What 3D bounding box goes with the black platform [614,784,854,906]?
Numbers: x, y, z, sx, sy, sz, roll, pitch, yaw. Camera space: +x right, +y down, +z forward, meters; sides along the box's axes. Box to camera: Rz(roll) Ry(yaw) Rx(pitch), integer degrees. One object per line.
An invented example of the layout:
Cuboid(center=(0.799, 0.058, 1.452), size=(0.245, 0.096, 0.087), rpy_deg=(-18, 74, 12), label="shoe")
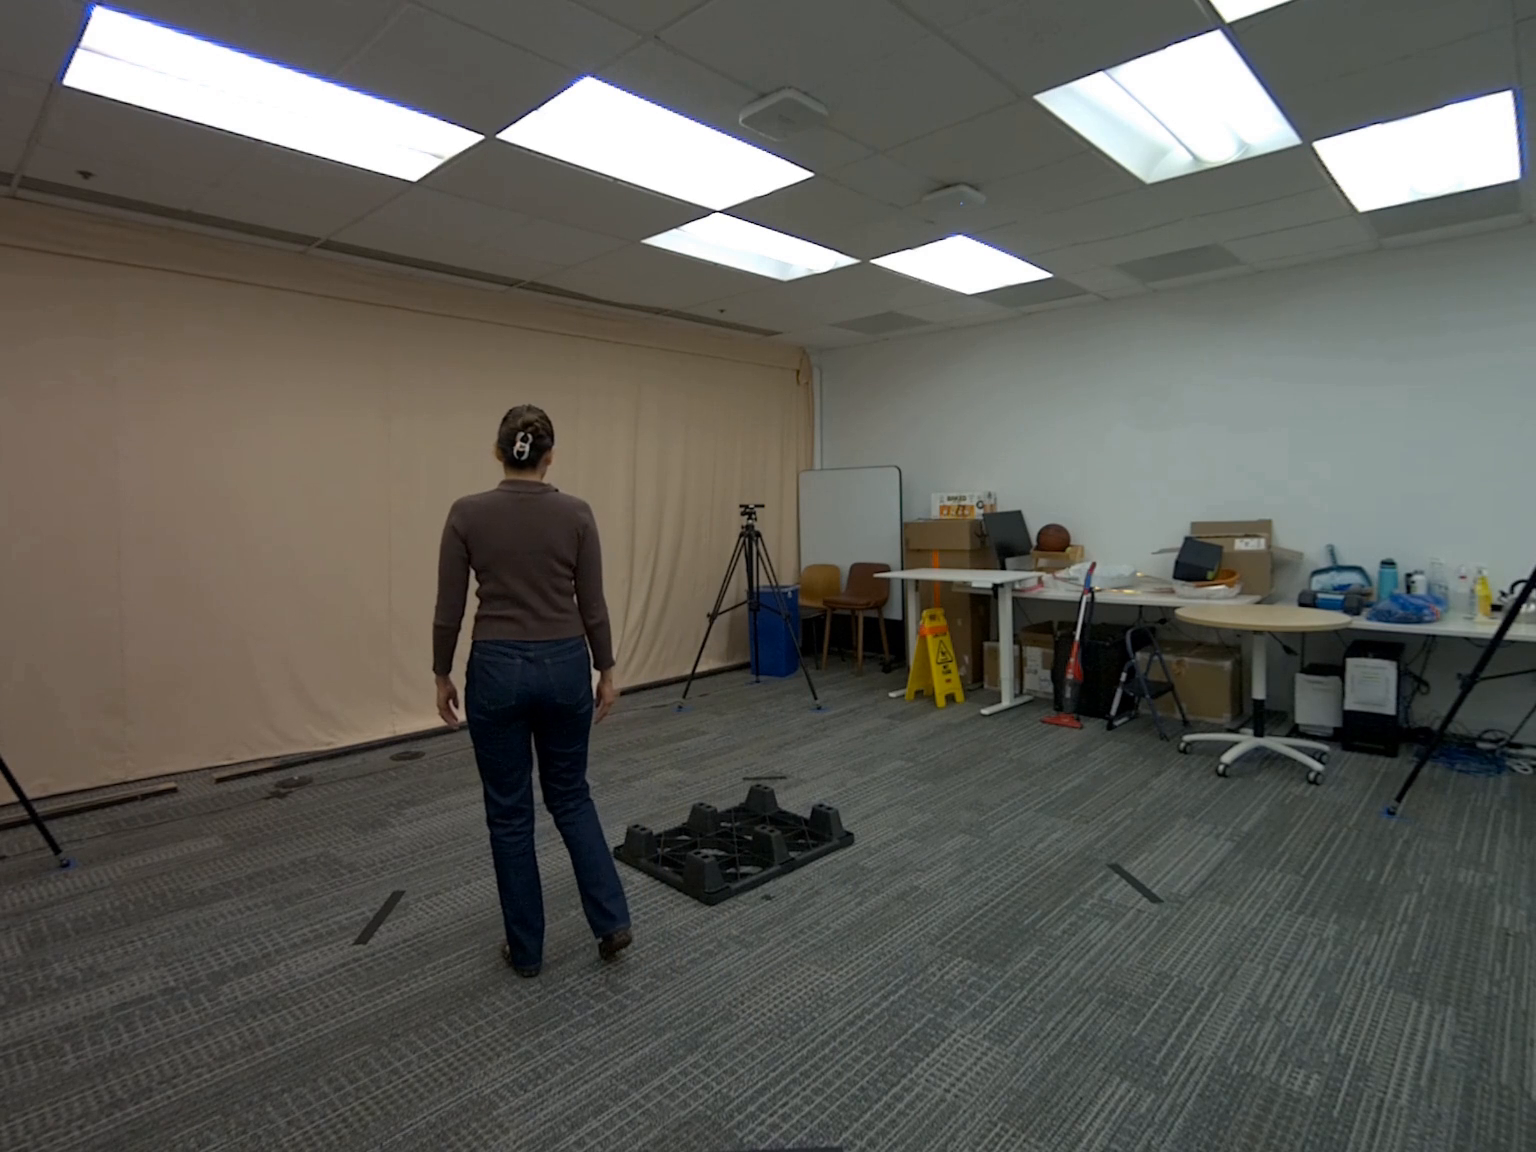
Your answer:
Cuboid(center=(-0.130, 1.041, 3.391), size=(0.781, 0.143, 0.625), rpy_deg=(-6, 6, -44), label="black platform")
